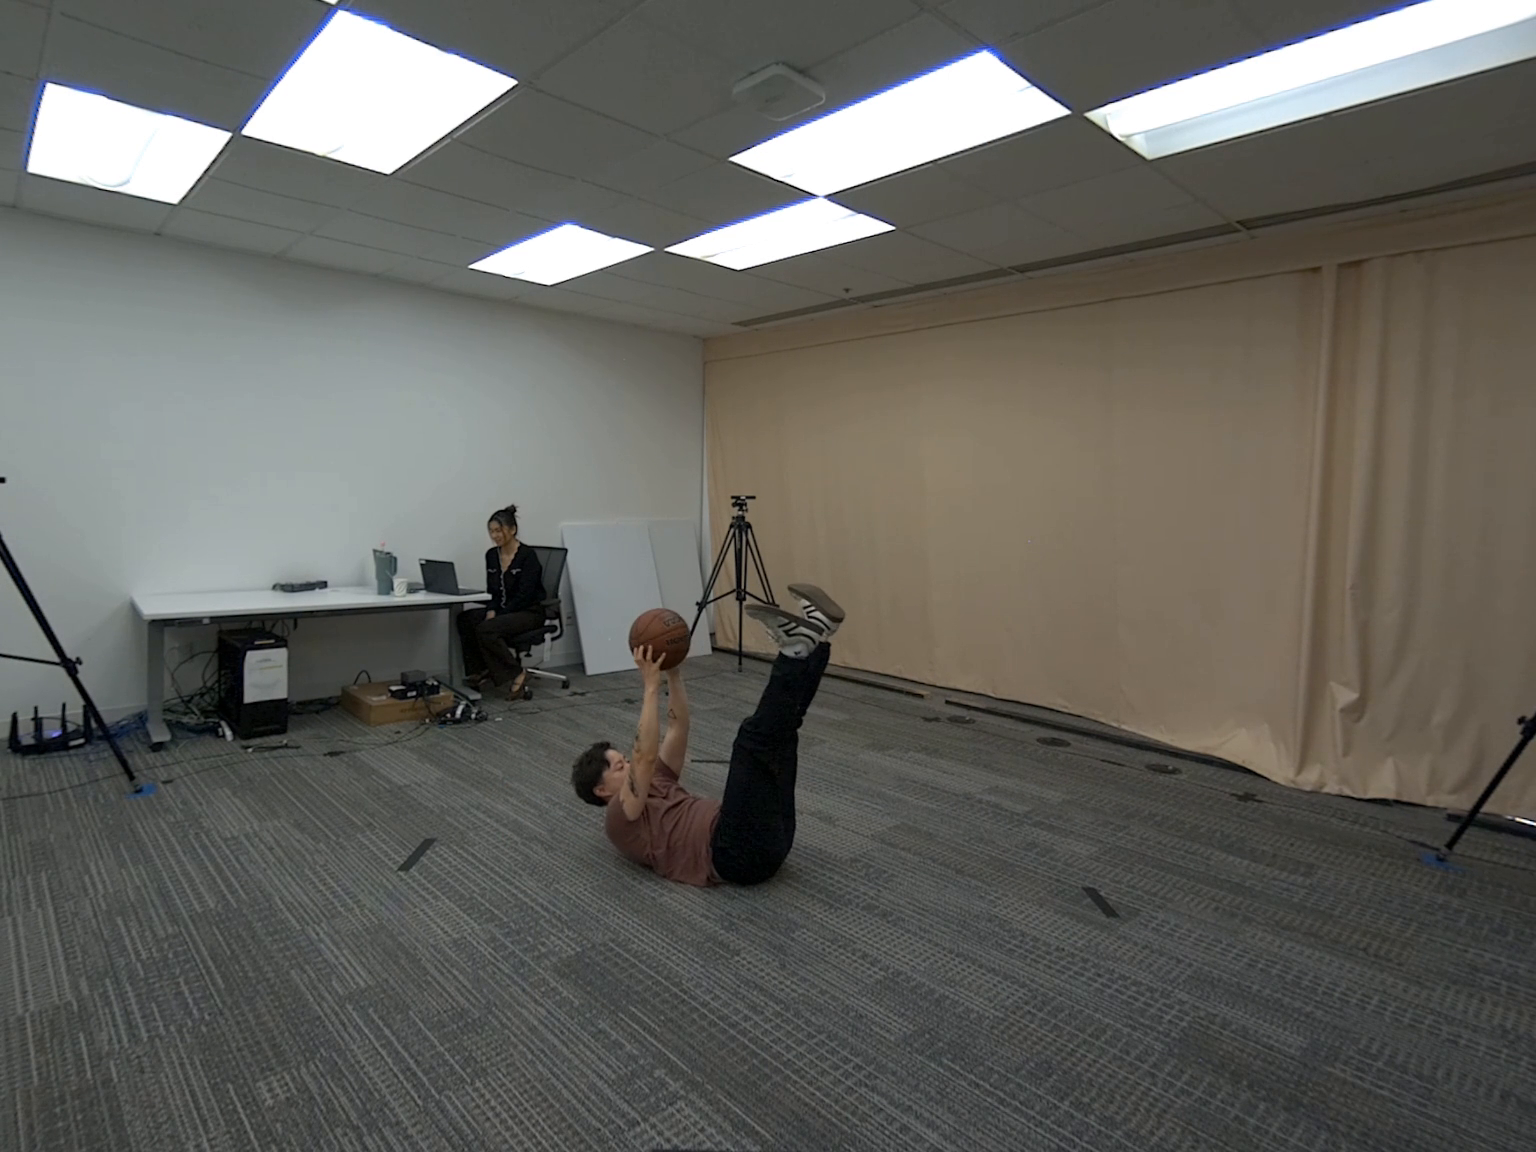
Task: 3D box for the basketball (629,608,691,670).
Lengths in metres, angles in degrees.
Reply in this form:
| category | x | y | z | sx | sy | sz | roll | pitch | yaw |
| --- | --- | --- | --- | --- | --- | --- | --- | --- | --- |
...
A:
| category | x | y | z | sx | sy | sz | roll | pitch | yaw |
| --- | --- | --- | --- | --- | --- | --- | --- | --- | --- |
| basketball | -0.427 | 0.244 | 3.189 | 0.236 | 0.234 | 0.237 | 0 | 8 | -1 |
